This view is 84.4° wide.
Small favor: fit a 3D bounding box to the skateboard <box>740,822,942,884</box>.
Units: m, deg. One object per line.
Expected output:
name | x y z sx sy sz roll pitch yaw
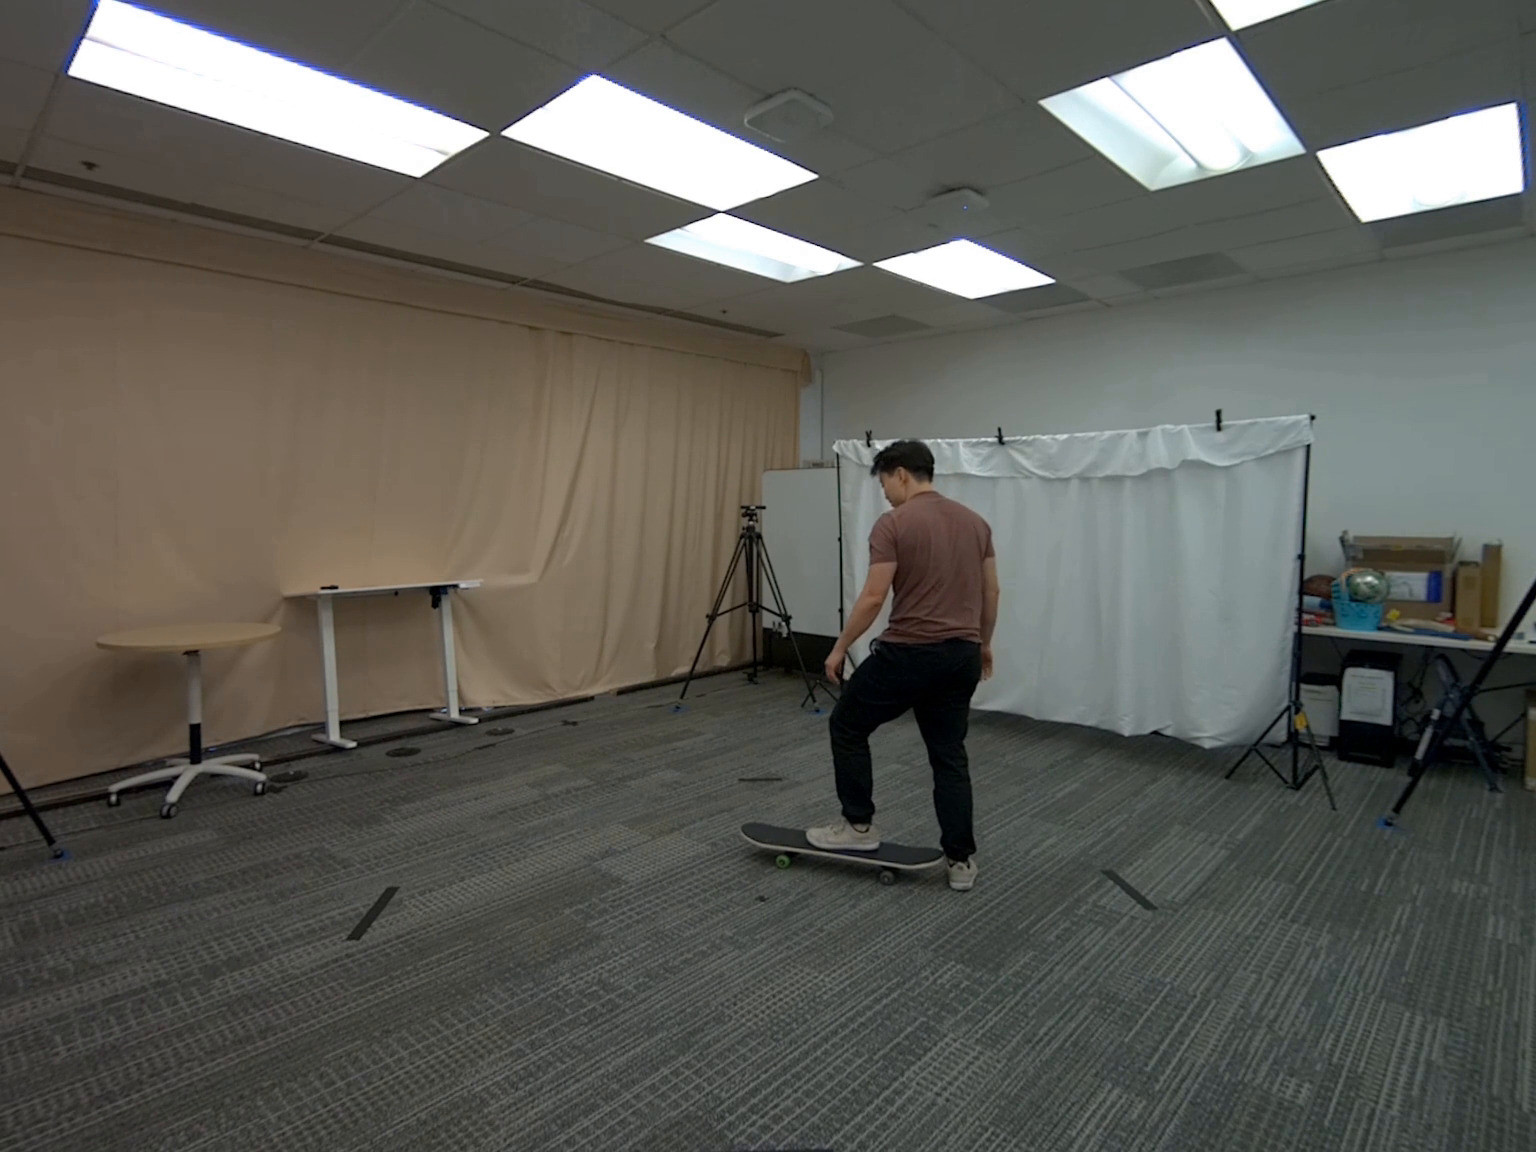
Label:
skateboard | 0.272 1.068 3.236 0.802 0.110 0.190 2 4 20
